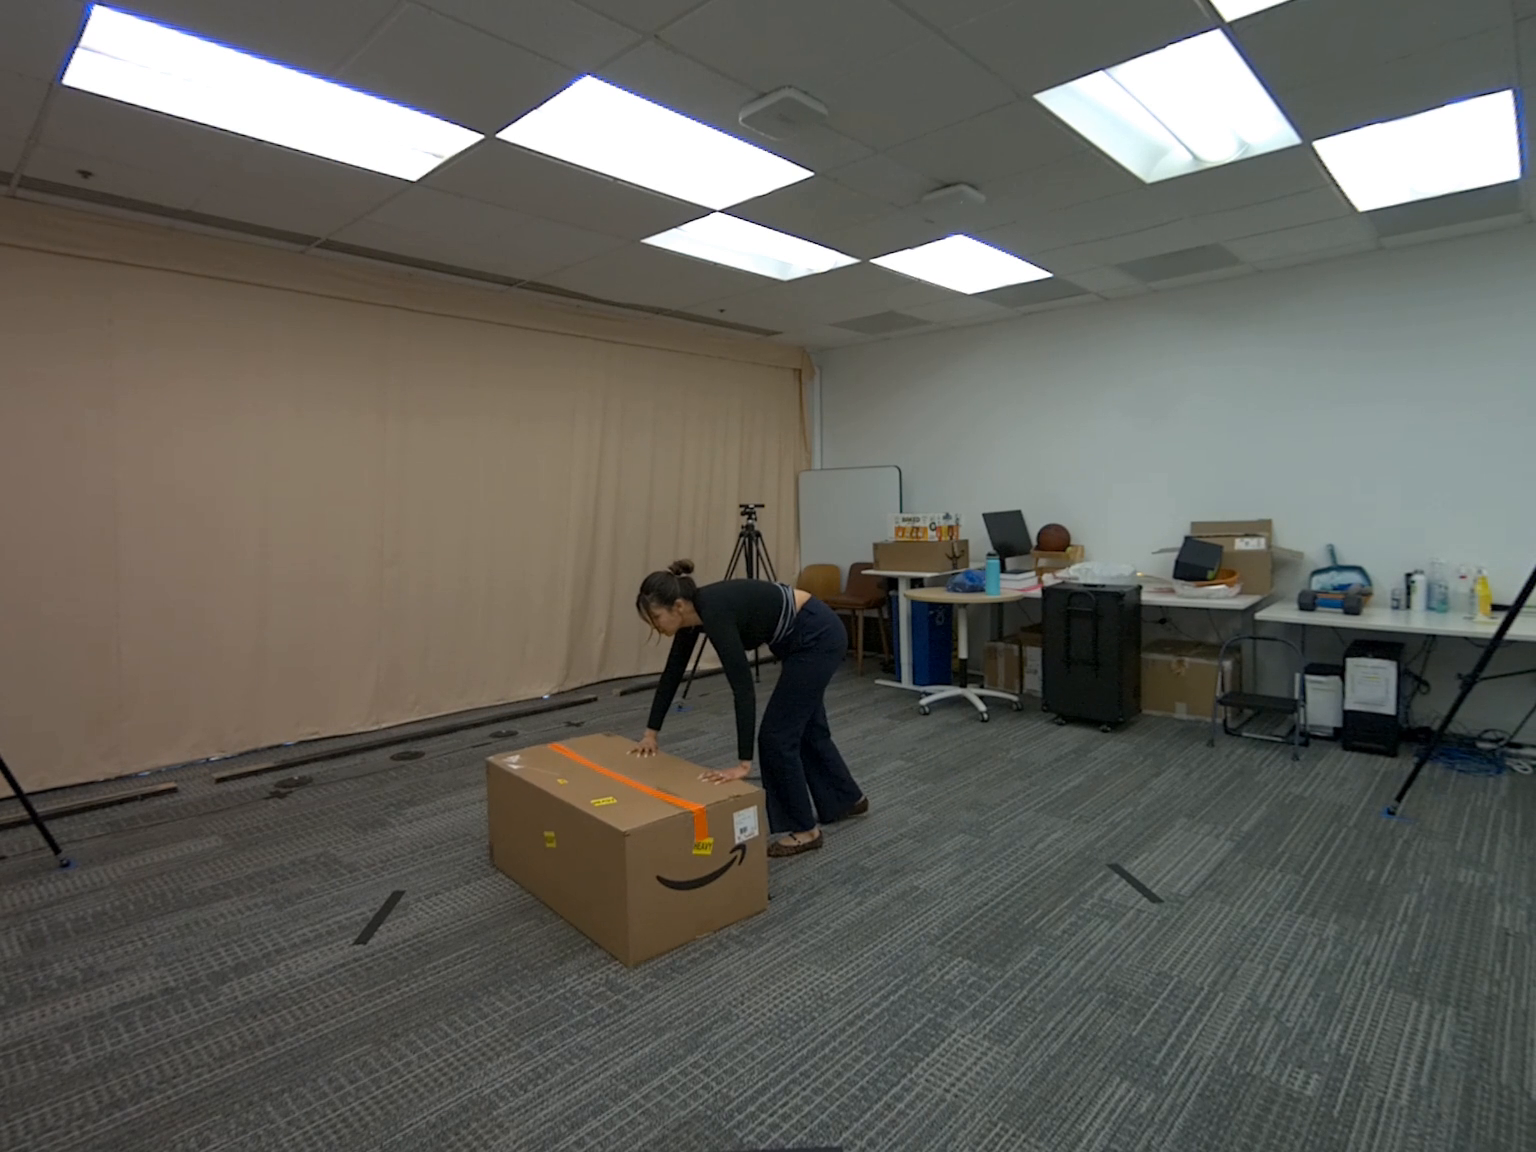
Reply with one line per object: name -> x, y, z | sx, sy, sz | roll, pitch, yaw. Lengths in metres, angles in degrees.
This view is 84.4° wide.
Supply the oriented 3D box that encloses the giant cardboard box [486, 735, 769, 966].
giant cardboard box -> -0.559, 0.930, 3.106 | 0.560, 0.425, 1.059 | -3, 5, -40
